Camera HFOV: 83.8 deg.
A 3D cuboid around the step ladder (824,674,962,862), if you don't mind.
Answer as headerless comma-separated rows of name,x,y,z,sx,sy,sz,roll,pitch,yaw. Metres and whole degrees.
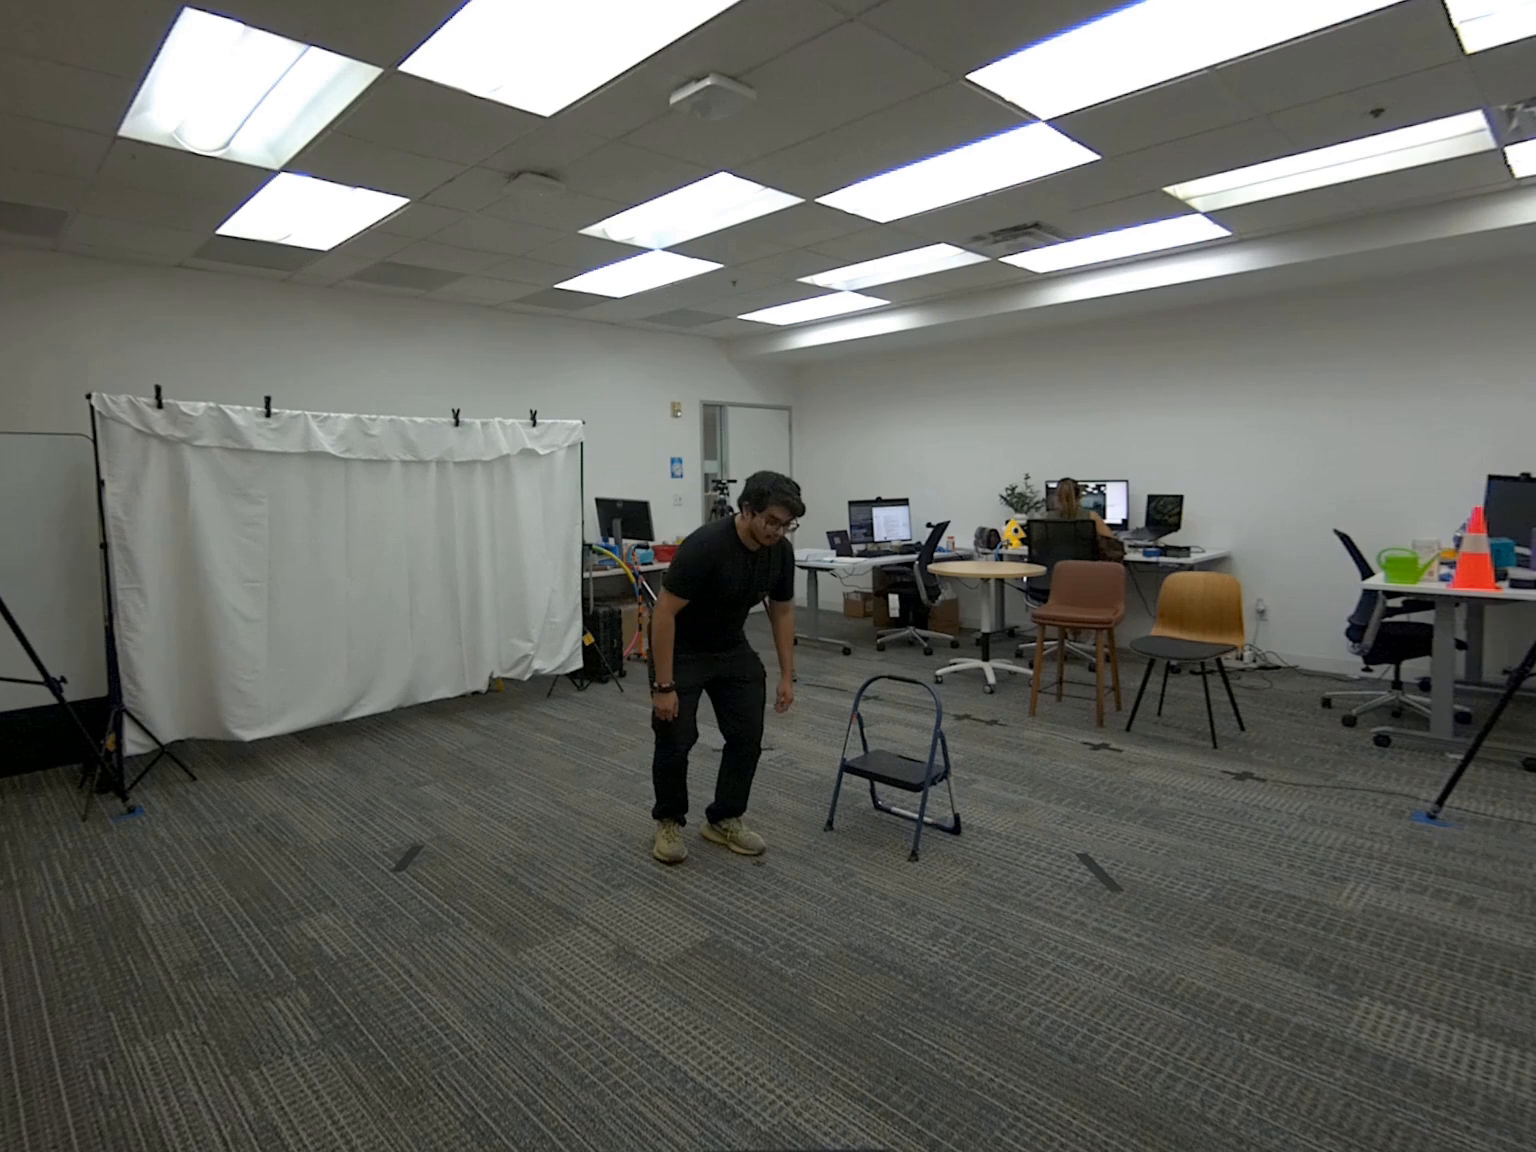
step ladder,0.492,0.712,3.354,0.444,0.604,0.340,4,6,43
